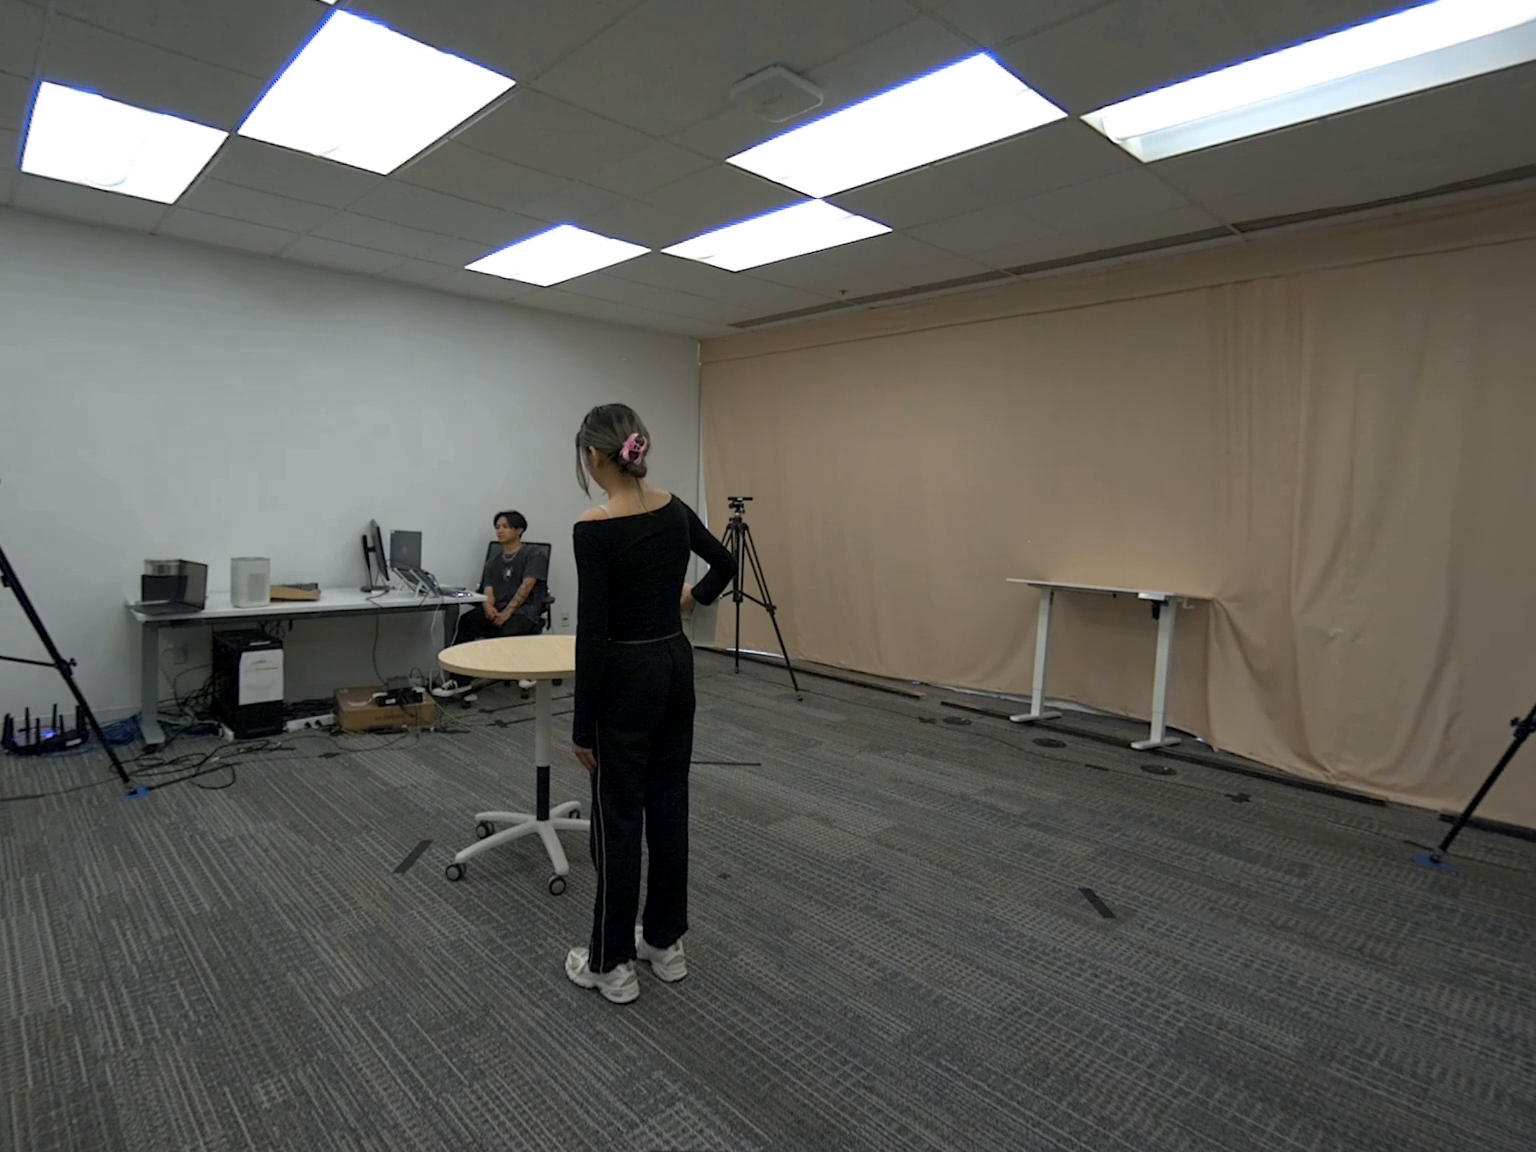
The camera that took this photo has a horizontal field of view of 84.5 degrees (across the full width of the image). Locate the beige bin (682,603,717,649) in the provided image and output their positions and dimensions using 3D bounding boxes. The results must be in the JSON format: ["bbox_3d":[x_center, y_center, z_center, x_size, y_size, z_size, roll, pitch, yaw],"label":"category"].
[{"bbox_3d":[-0.385,0.132,3.077,0.377,0.189,0.423,6,1,-3],"label":"beige bin"}]
